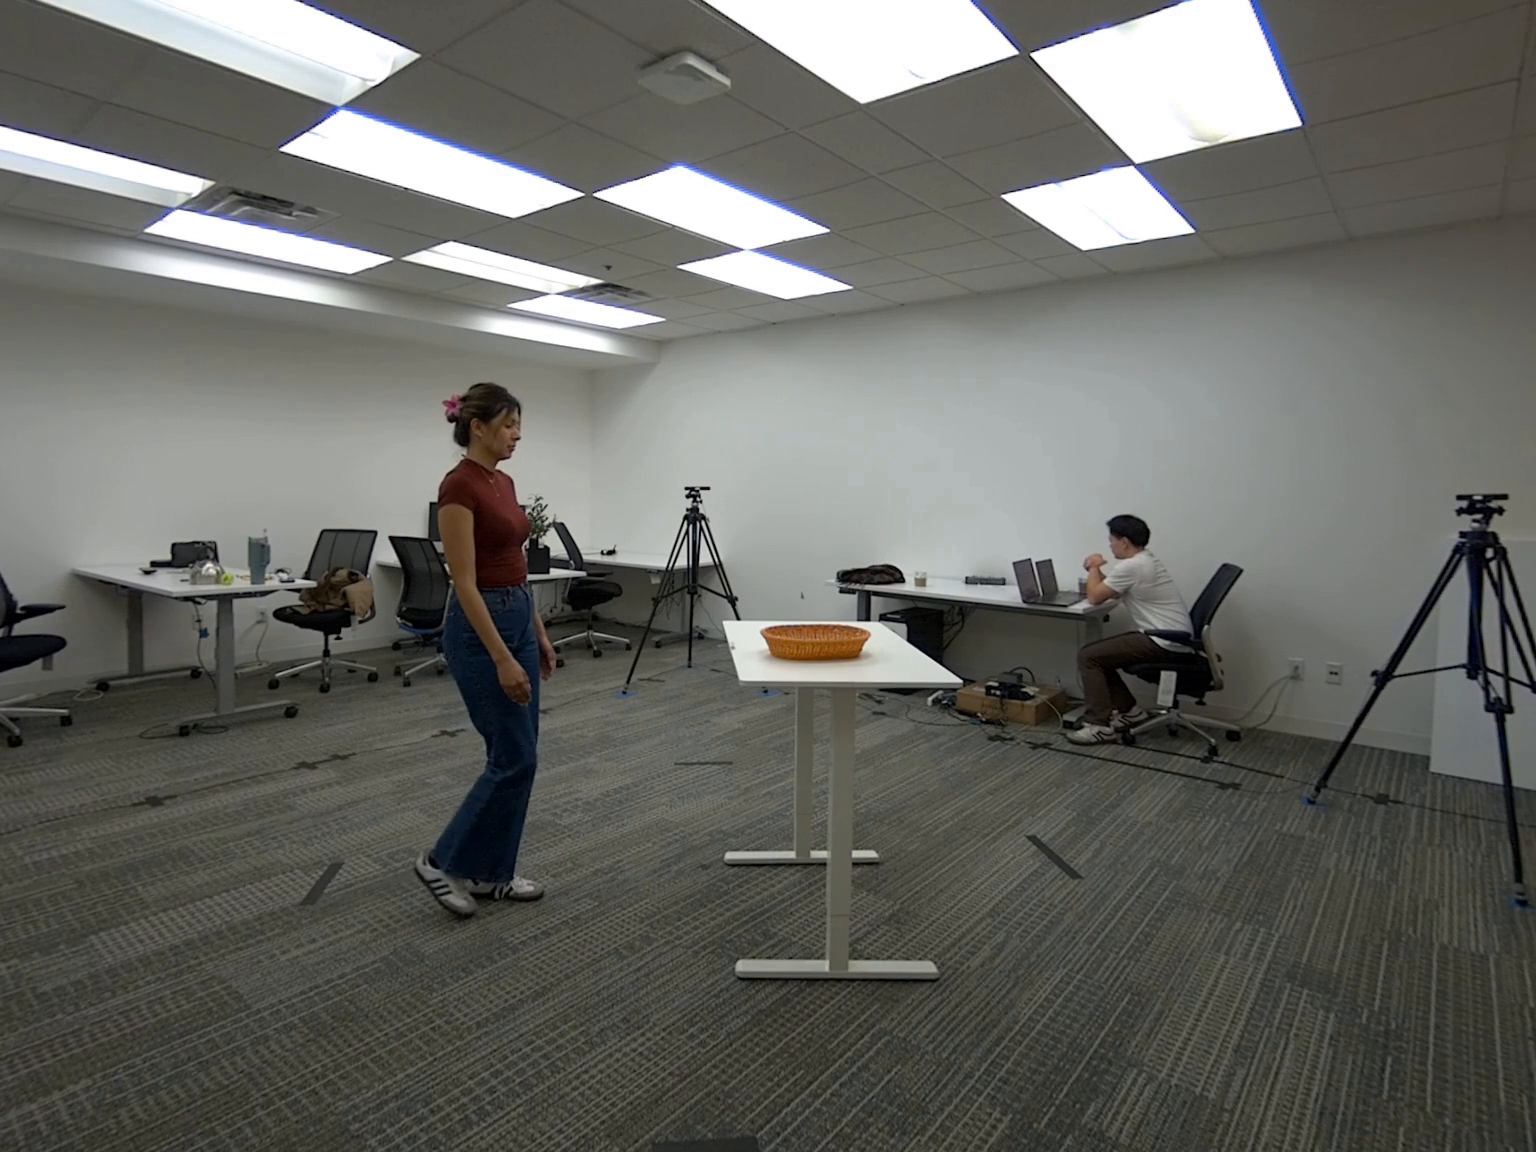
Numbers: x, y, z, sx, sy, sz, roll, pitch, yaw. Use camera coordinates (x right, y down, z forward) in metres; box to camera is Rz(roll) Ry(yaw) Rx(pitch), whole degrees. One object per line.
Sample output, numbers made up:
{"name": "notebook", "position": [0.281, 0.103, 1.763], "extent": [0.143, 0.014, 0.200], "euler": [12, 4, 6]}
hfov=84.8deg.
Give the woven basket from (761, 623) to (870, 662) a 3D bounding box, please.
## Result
{"name": "woven basket", "position": [0.139, 0.211, 2.610], "extent": [0.347, 0.073, 0.256], "euler": [-1, 7, -10]}
